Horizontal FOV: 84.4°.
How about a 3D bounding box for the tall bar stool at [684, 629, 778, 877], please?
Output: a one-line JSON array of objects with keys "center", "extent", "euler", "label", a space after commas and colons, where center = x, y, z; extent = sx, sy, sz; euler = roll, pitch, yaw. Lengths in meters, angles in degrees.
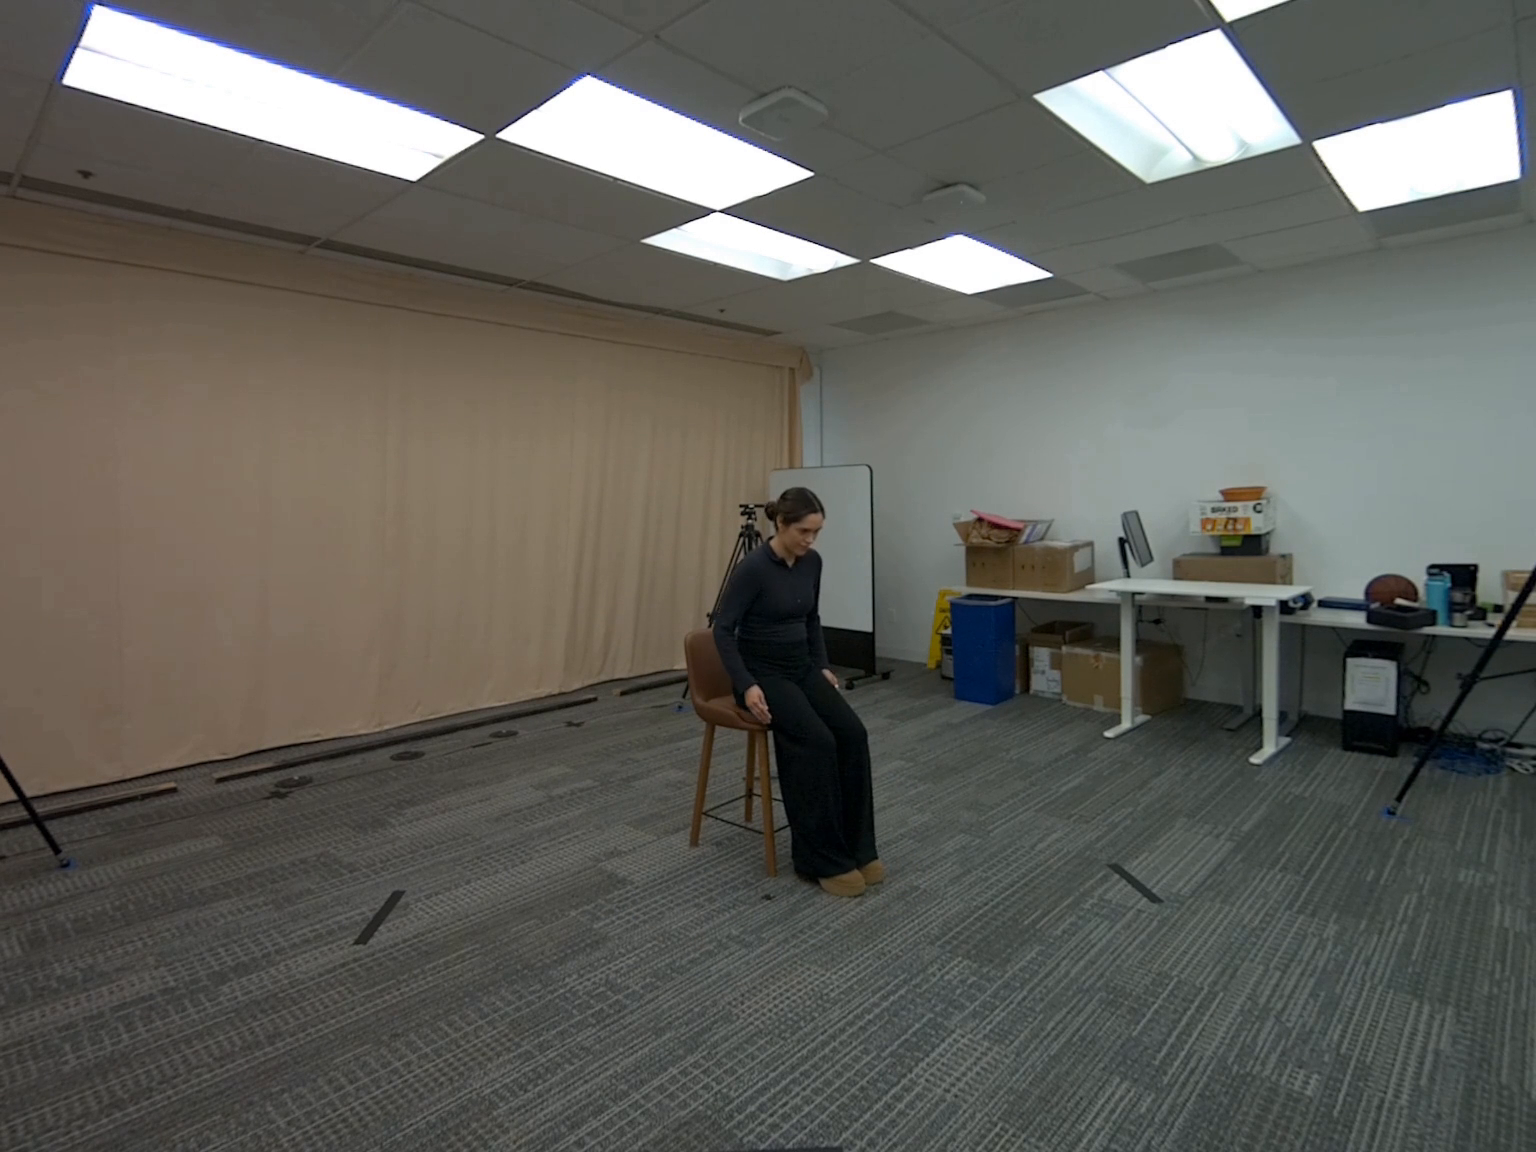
[{"center": [-0.044, 0.667, 3.429], "extent": [0.482, 0.889, 0.443], "euler": [-1, 2, 41], "label": "tall bar stool"}]
